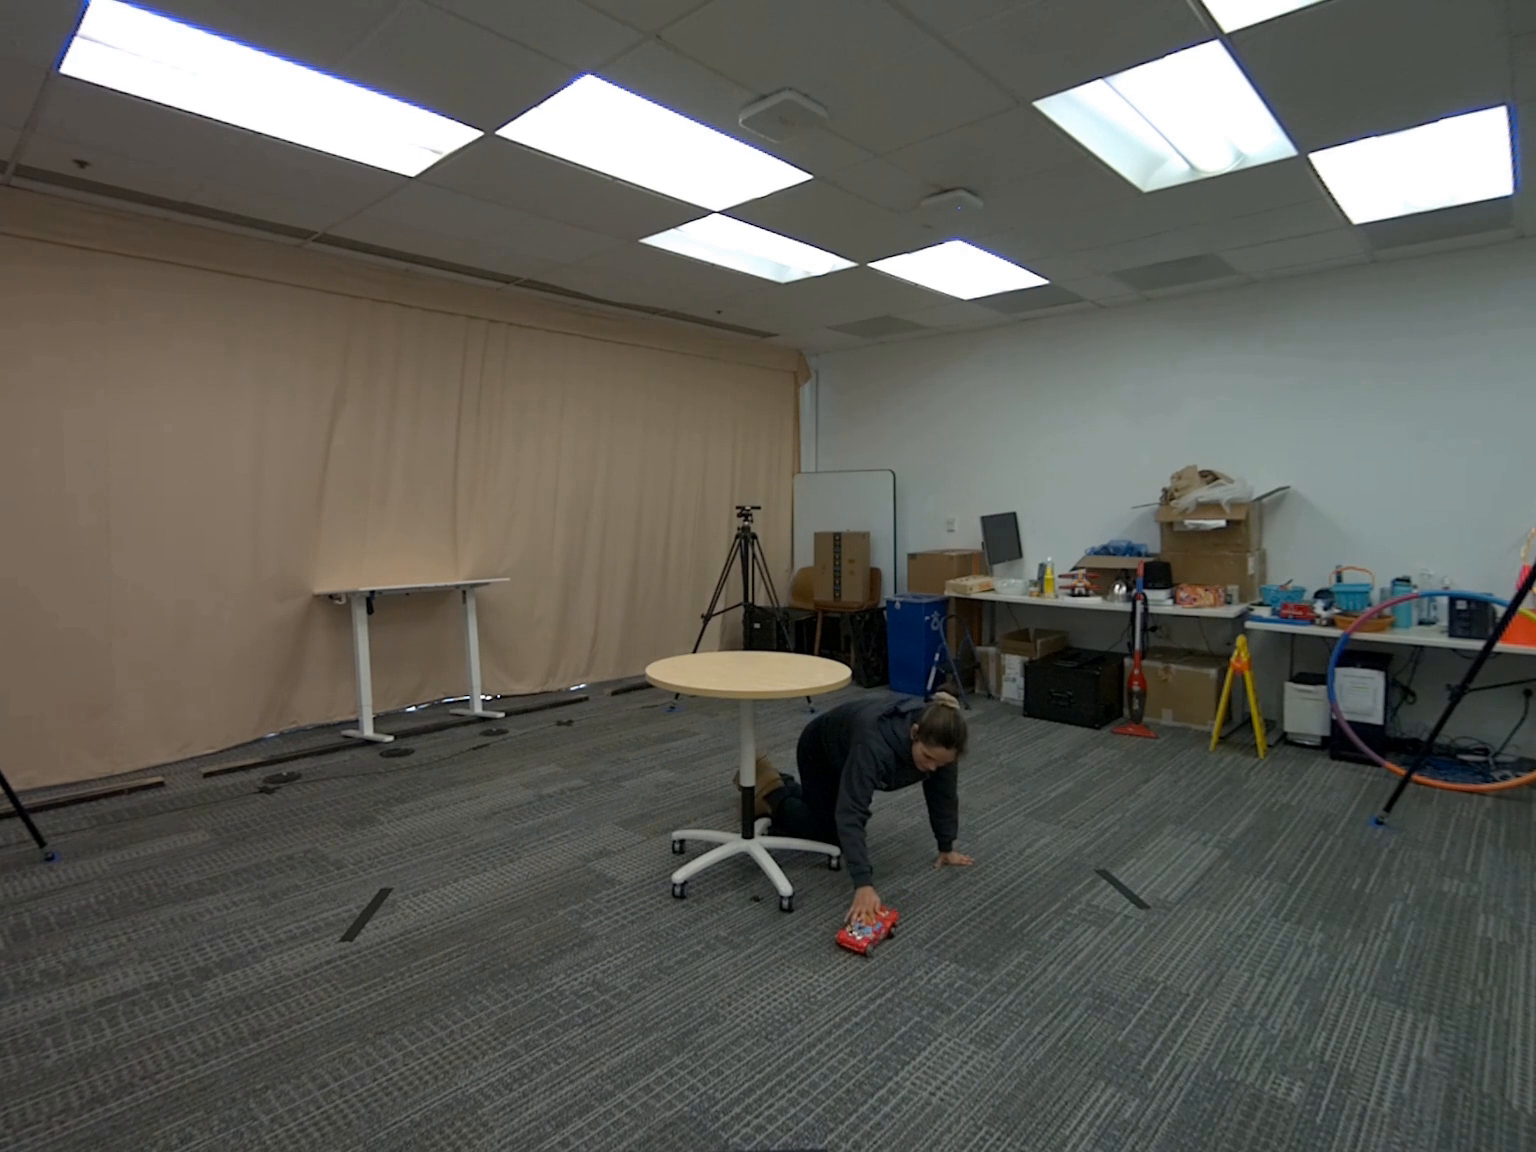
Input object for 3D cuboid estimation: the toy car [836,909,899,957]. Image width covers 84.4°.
[{"bbox_3d":[0.341,1.121,2.706,0.134,0.082,0.249,2,16,40],"label":"toy car"}]
